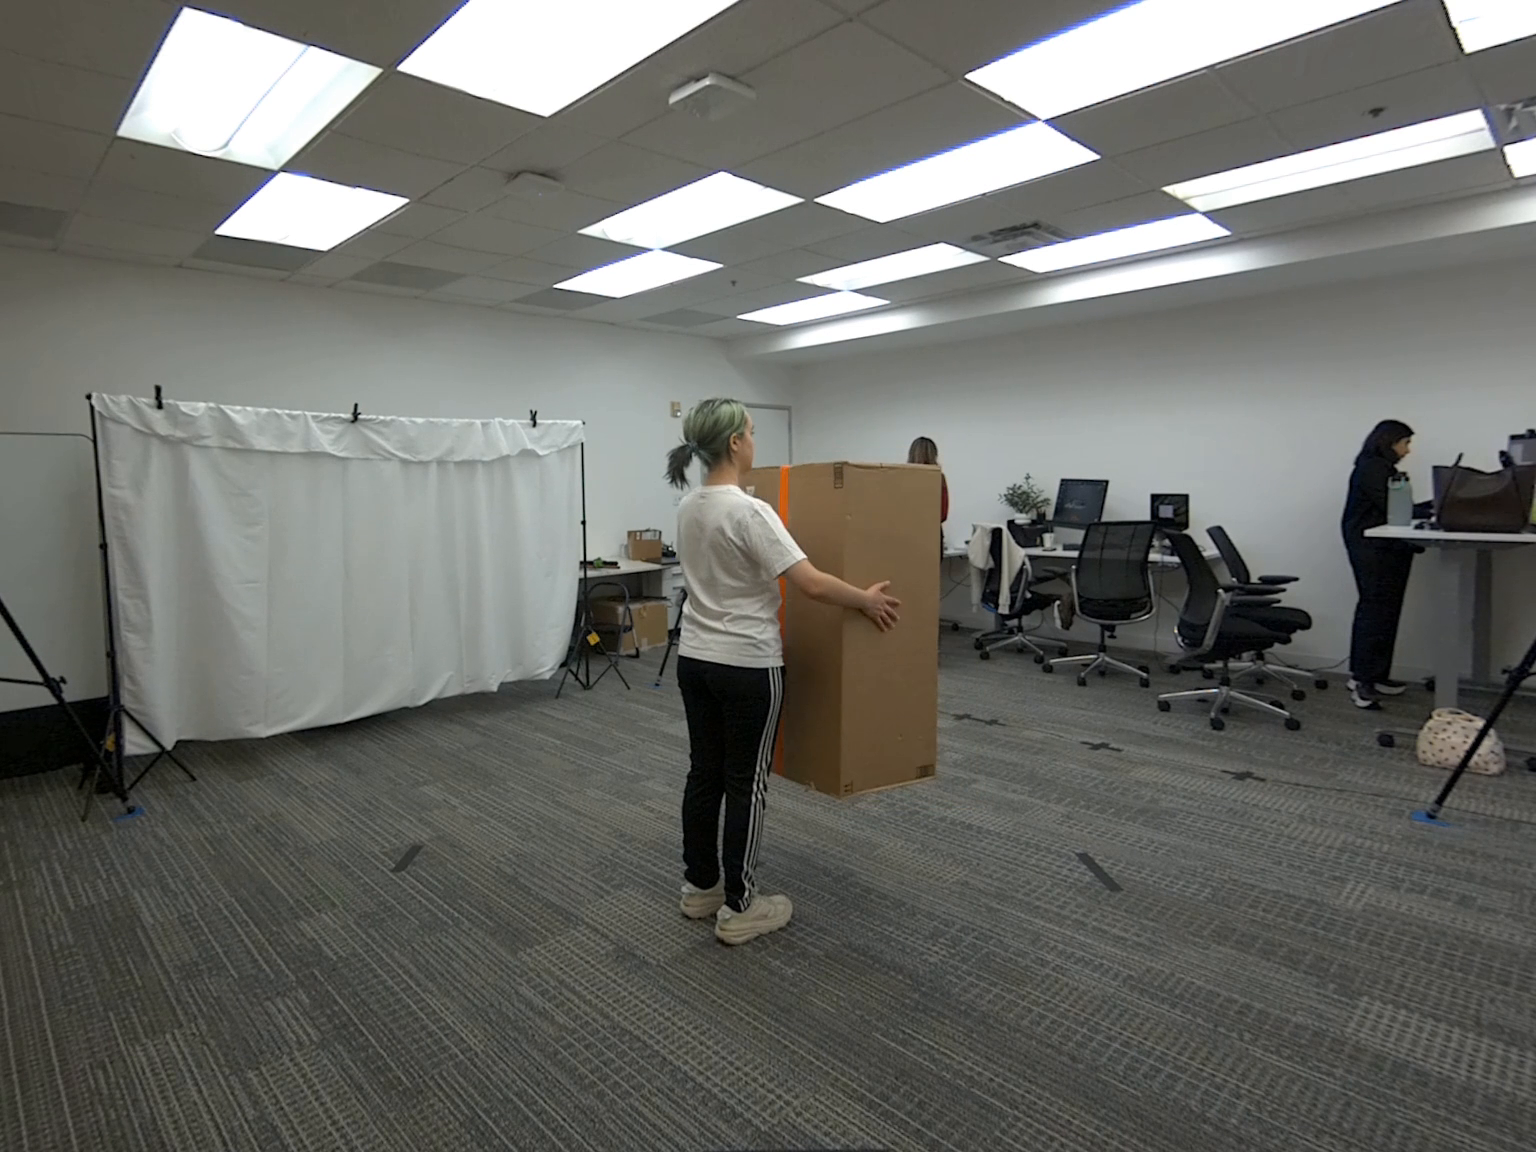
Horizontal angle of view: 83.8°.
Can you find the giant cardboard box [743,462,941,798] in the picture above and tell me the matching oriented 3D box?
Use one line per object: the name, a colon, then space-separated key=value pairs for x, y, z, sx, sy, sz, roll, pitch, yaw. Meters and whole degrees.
giant cardboard box: x=0.219 y=0.145 z=2.911 sx=0.415 sy=1.025 sz=0.594 roll=0 pitch=1 yaw=-35
